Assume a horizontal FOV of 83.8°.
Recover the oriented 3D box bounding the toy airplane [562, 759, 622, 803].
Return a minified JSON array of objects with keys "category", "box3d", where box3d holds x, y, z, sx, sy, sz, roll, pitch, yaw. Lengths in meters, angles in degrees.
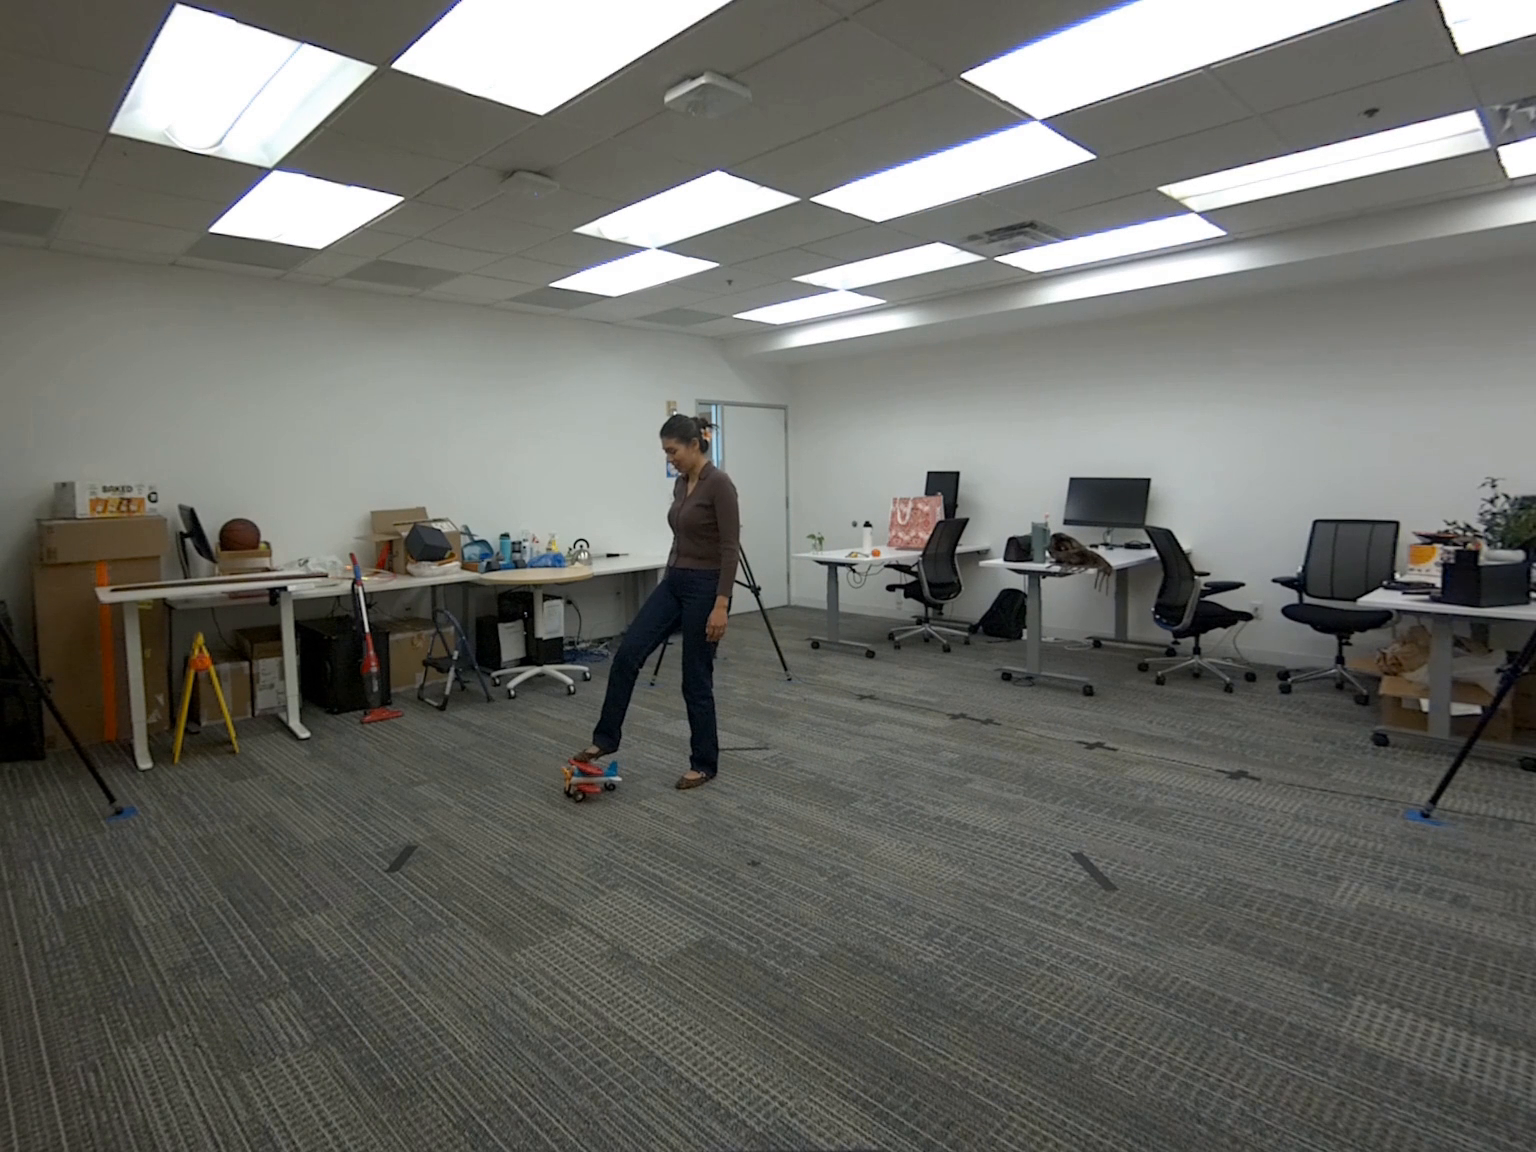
[{"category":"toy airplane","box3d":[-0.805,0.905,3.835,0.257,0.156,0.254,0,6,25]}]
